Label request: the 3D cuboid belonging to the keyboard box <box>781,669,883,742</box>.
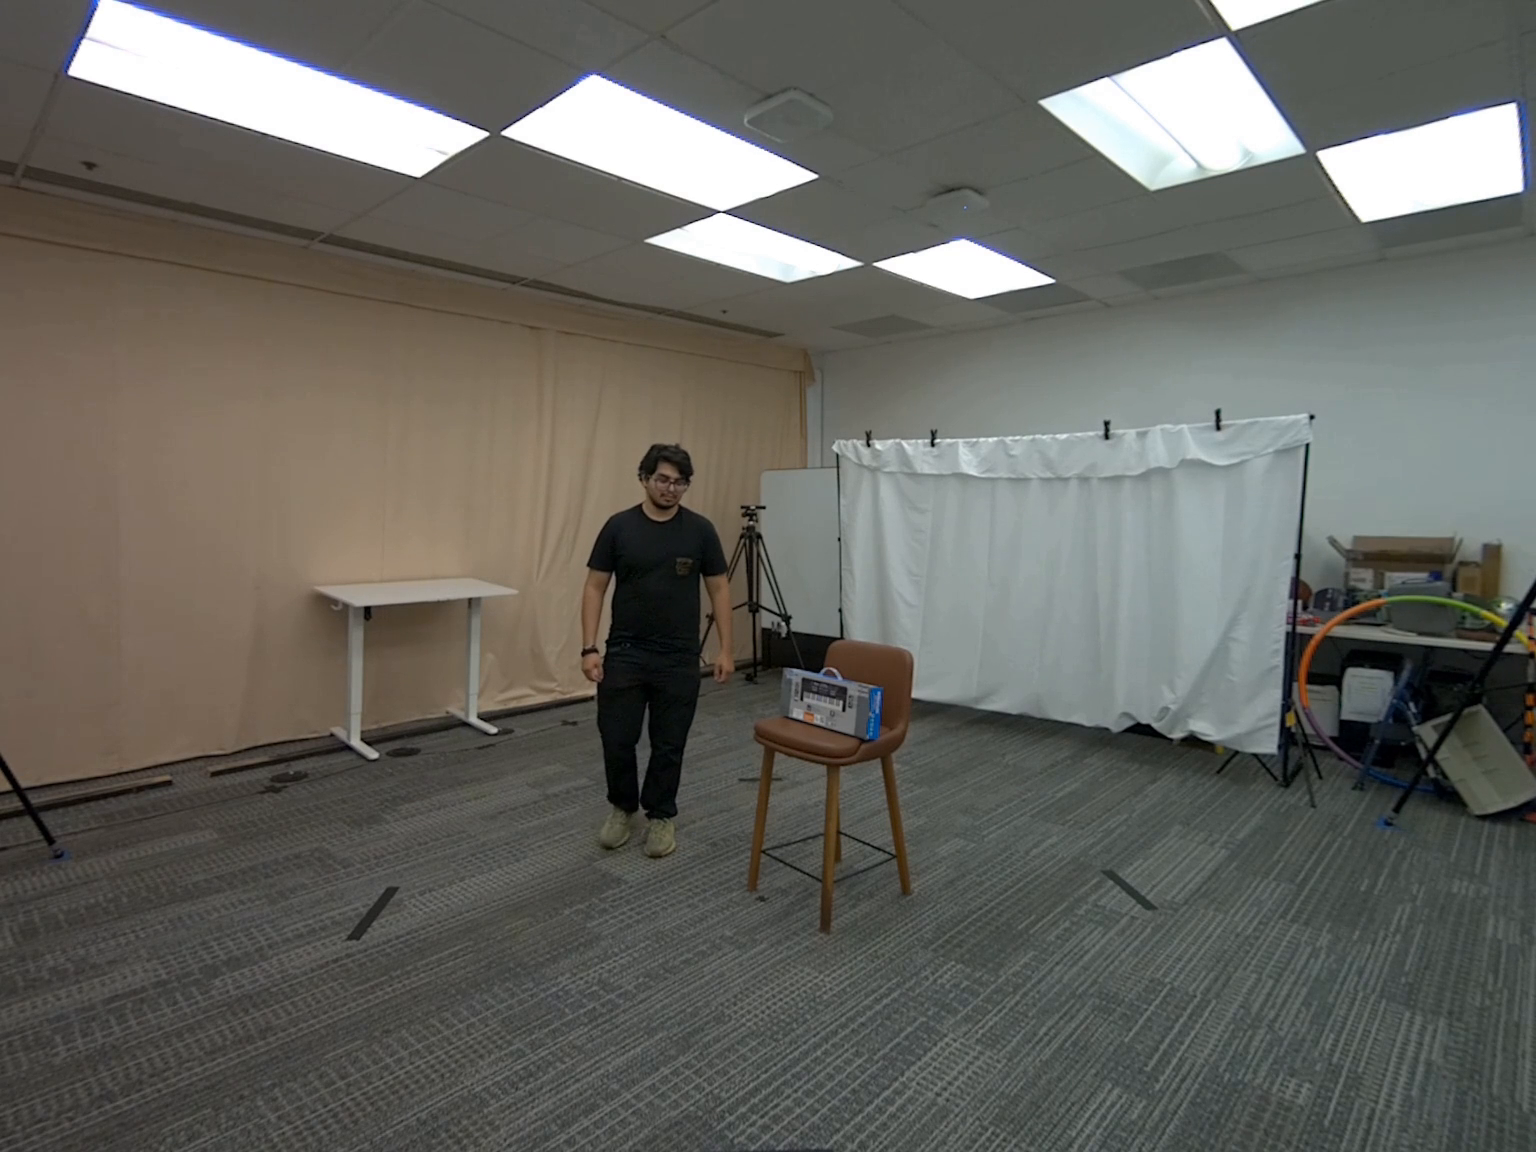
[{"bbox_3d":[0.215,0.444,2.965,0.057,0.176,0.451,6,-1,-39],"label":"keyboard box"}]
